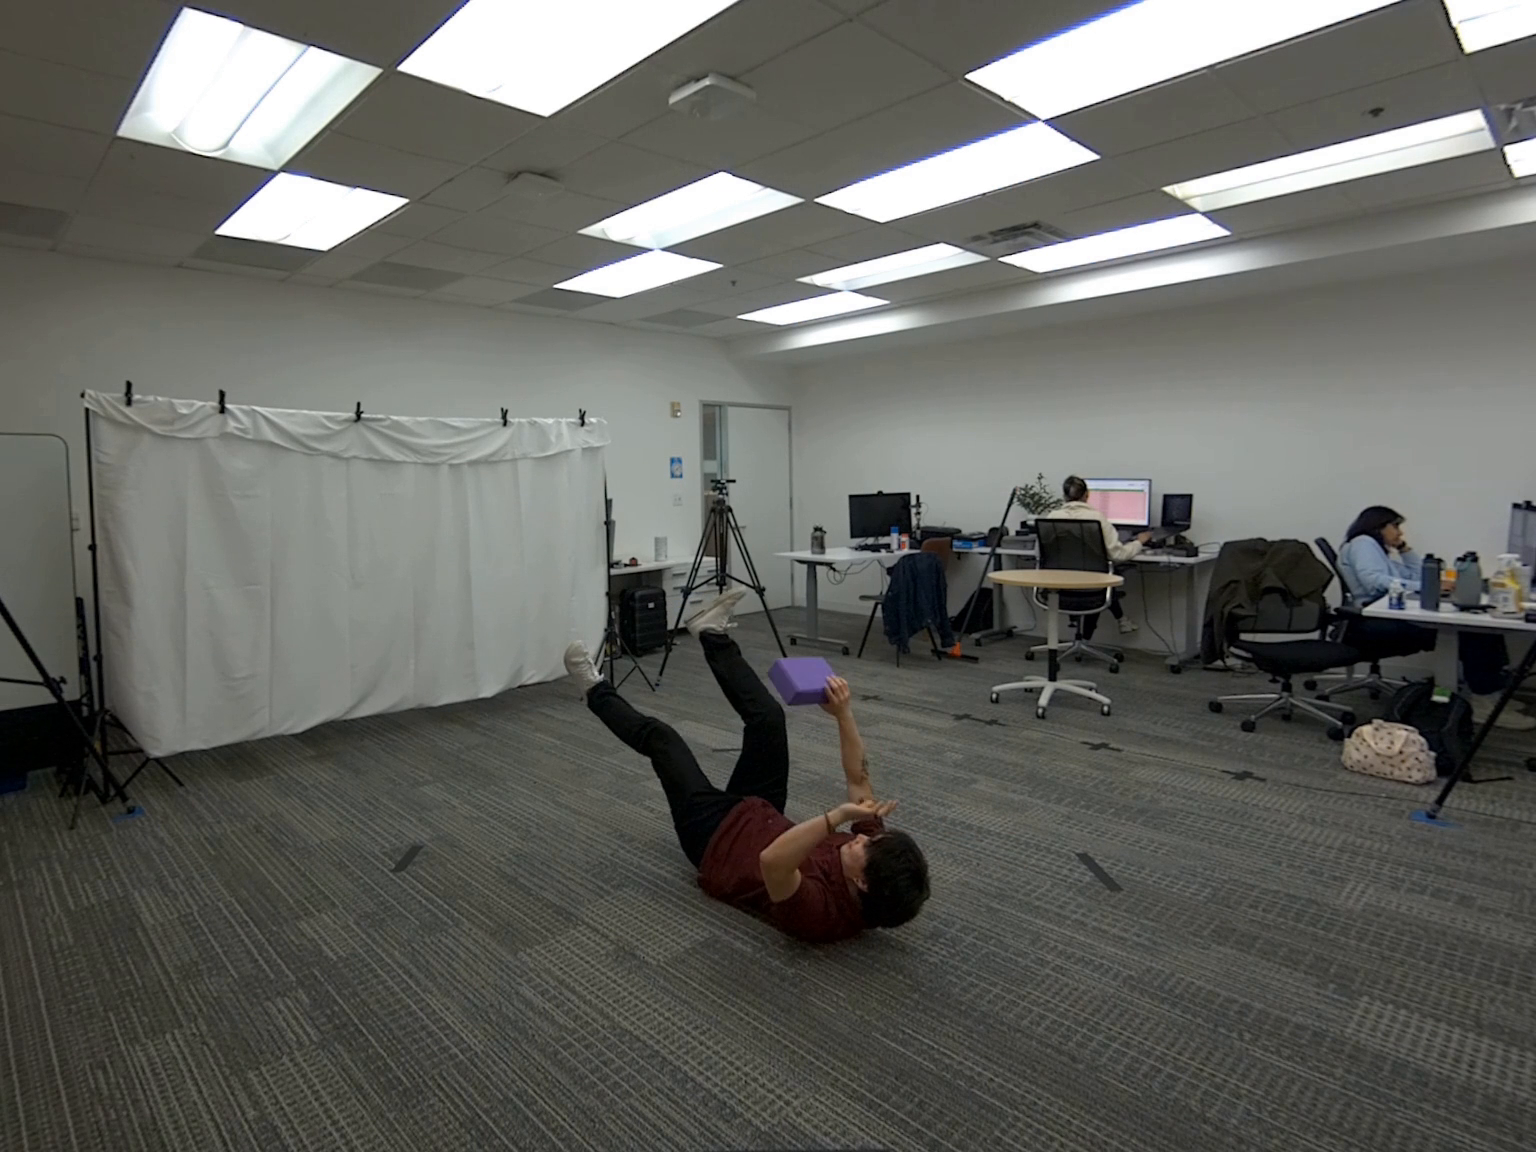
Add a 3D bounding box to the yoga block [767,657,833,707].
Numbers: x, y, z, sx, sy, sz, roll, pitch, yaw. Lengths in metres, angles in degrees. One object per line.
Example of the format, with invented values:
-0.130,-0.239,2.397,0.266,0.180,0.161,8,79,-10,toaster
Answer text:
0.128,0.345,2.793,0.222,0.076,0.154,3,39,-44,yoga block
